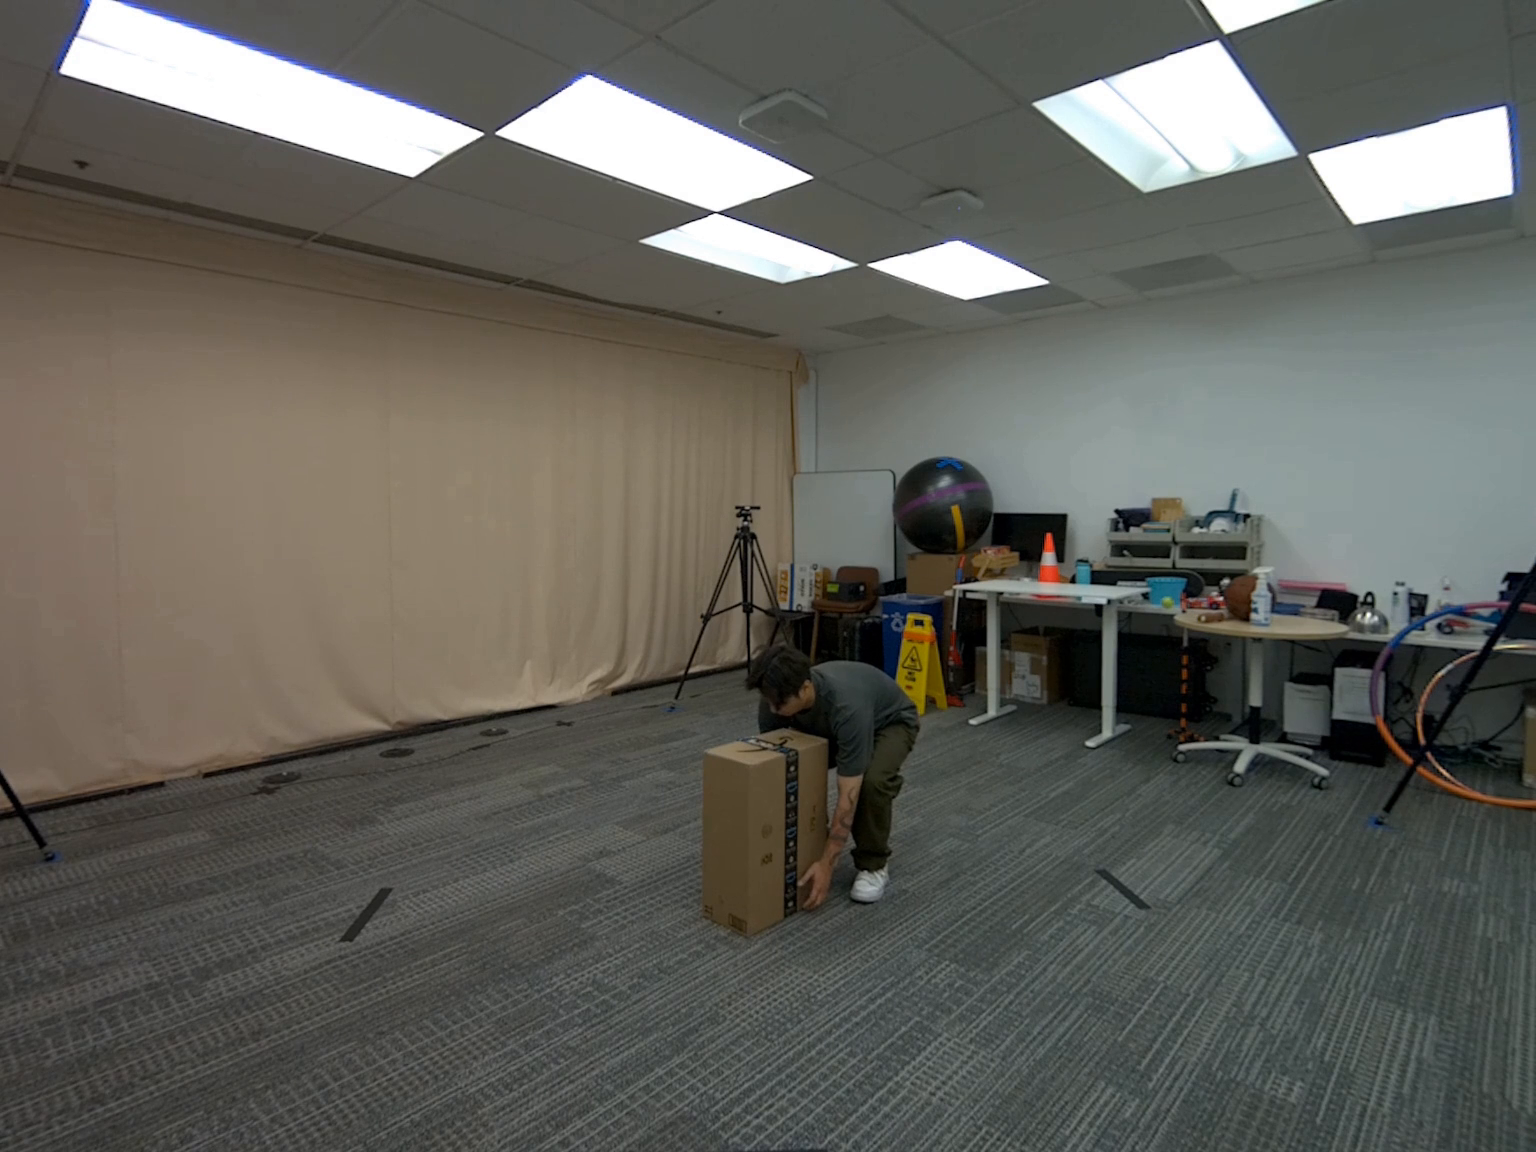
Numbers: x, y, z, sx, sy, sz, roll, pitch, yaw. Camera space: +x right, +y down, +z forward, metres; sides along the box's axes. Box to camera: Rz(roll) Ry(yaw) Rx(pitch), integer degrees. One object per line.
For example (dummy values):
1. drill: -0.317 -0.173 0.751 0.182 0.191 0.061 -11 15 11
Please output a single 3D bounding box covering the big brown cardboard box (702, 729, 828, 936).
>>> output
1. big brown cardboard box: -0.006 0.865 2.917 0.241 0.588 0.404 2 2 44
